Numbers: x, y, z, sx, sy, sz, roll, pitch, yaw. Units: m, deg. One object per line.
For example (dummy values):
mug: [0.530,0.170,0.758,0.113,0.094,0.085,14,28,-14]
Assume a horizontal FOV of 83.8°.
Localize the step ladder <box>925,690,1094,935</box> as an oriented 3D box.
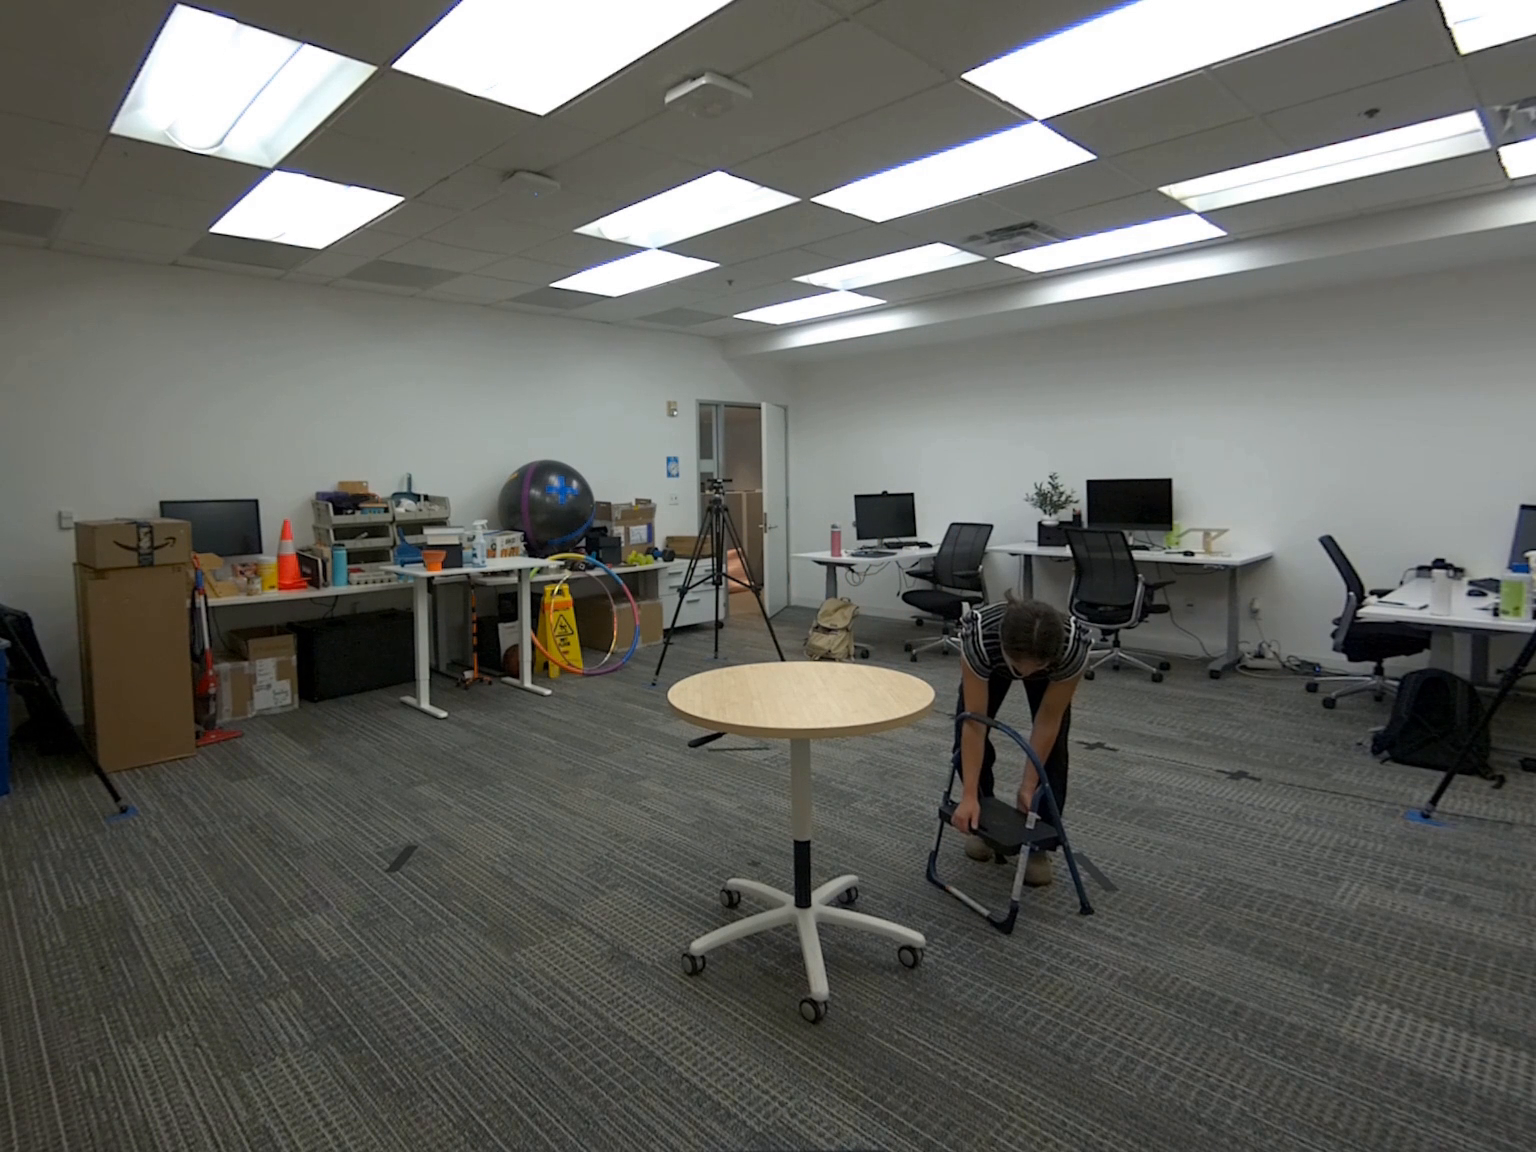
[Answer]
step ladder: [0.781,0.756,2.814,0.342,0.604,0.441,-2,5,-25]
